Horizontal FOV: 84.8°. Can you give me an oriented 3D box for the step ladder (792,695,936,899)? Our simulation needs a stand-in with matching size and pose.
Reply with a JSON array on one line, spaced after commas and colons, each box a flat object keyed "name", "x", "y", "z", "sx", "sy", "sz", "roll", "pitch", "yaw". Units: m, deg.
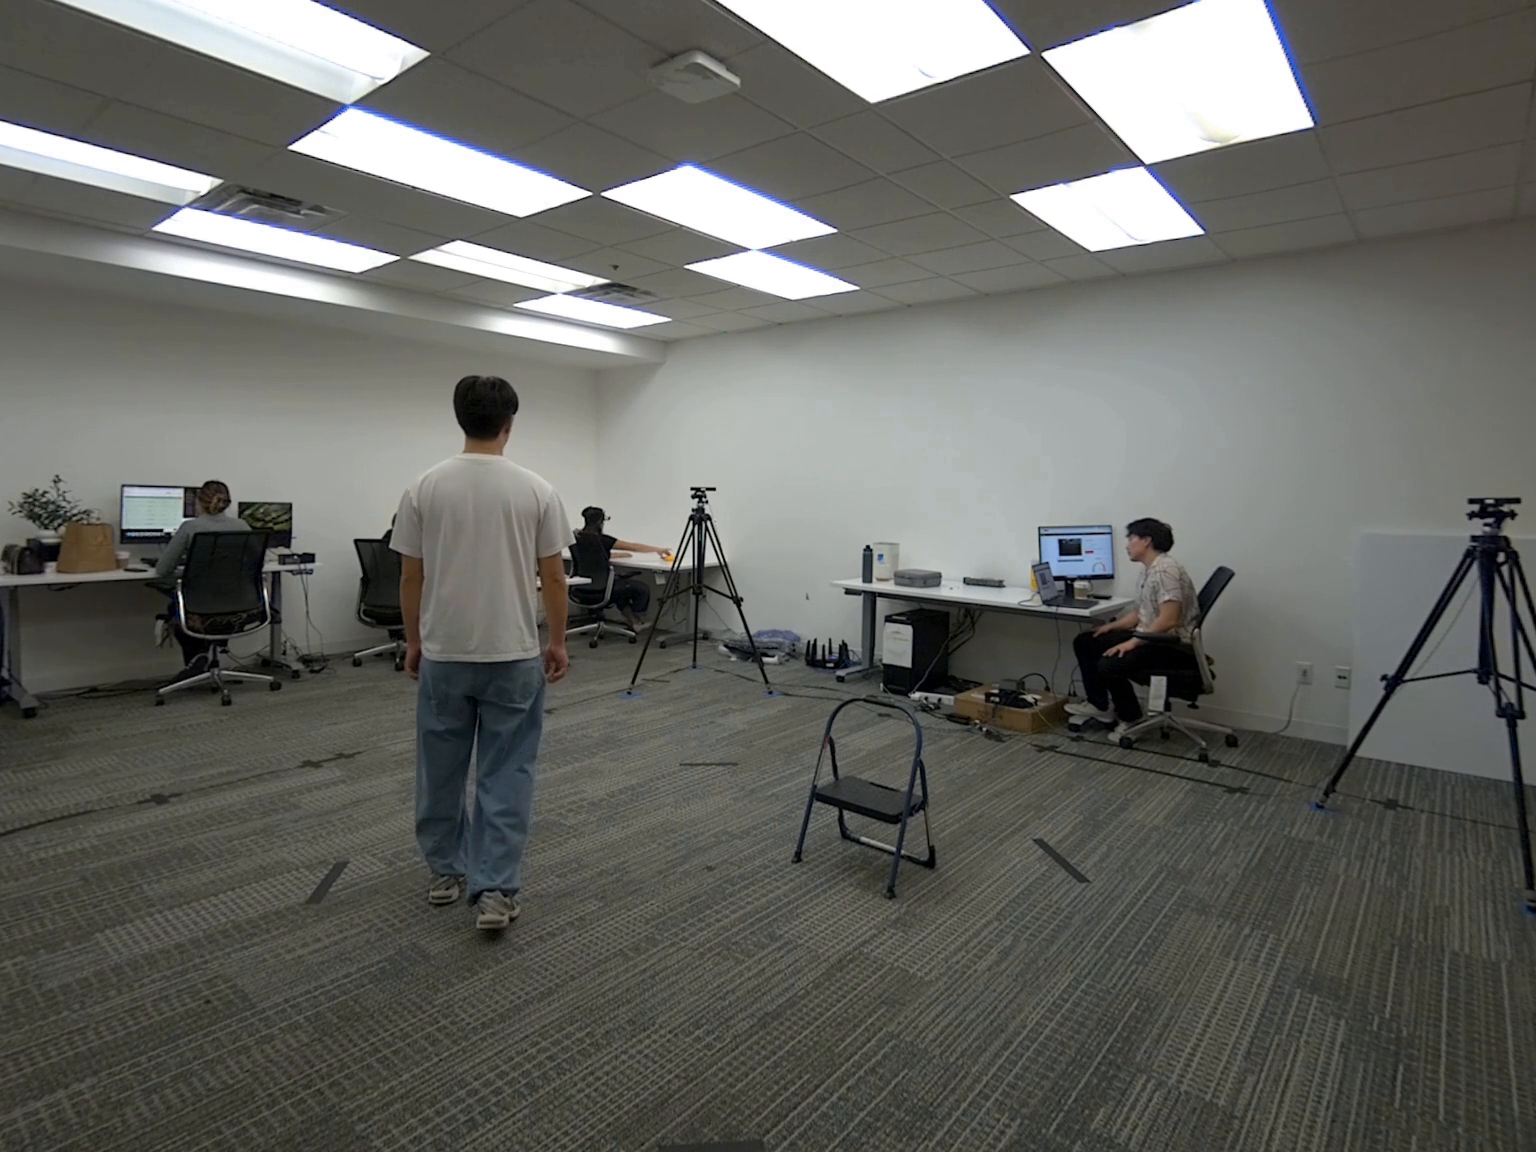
[{"name": "step ladder", "x": 0.359, "y": 0.769, "z": 3.157, "sx": 0.445, "sy": 0.604, "sz": 0.339, "roll": 5, "pitch": 5, "yaw": 39}]
